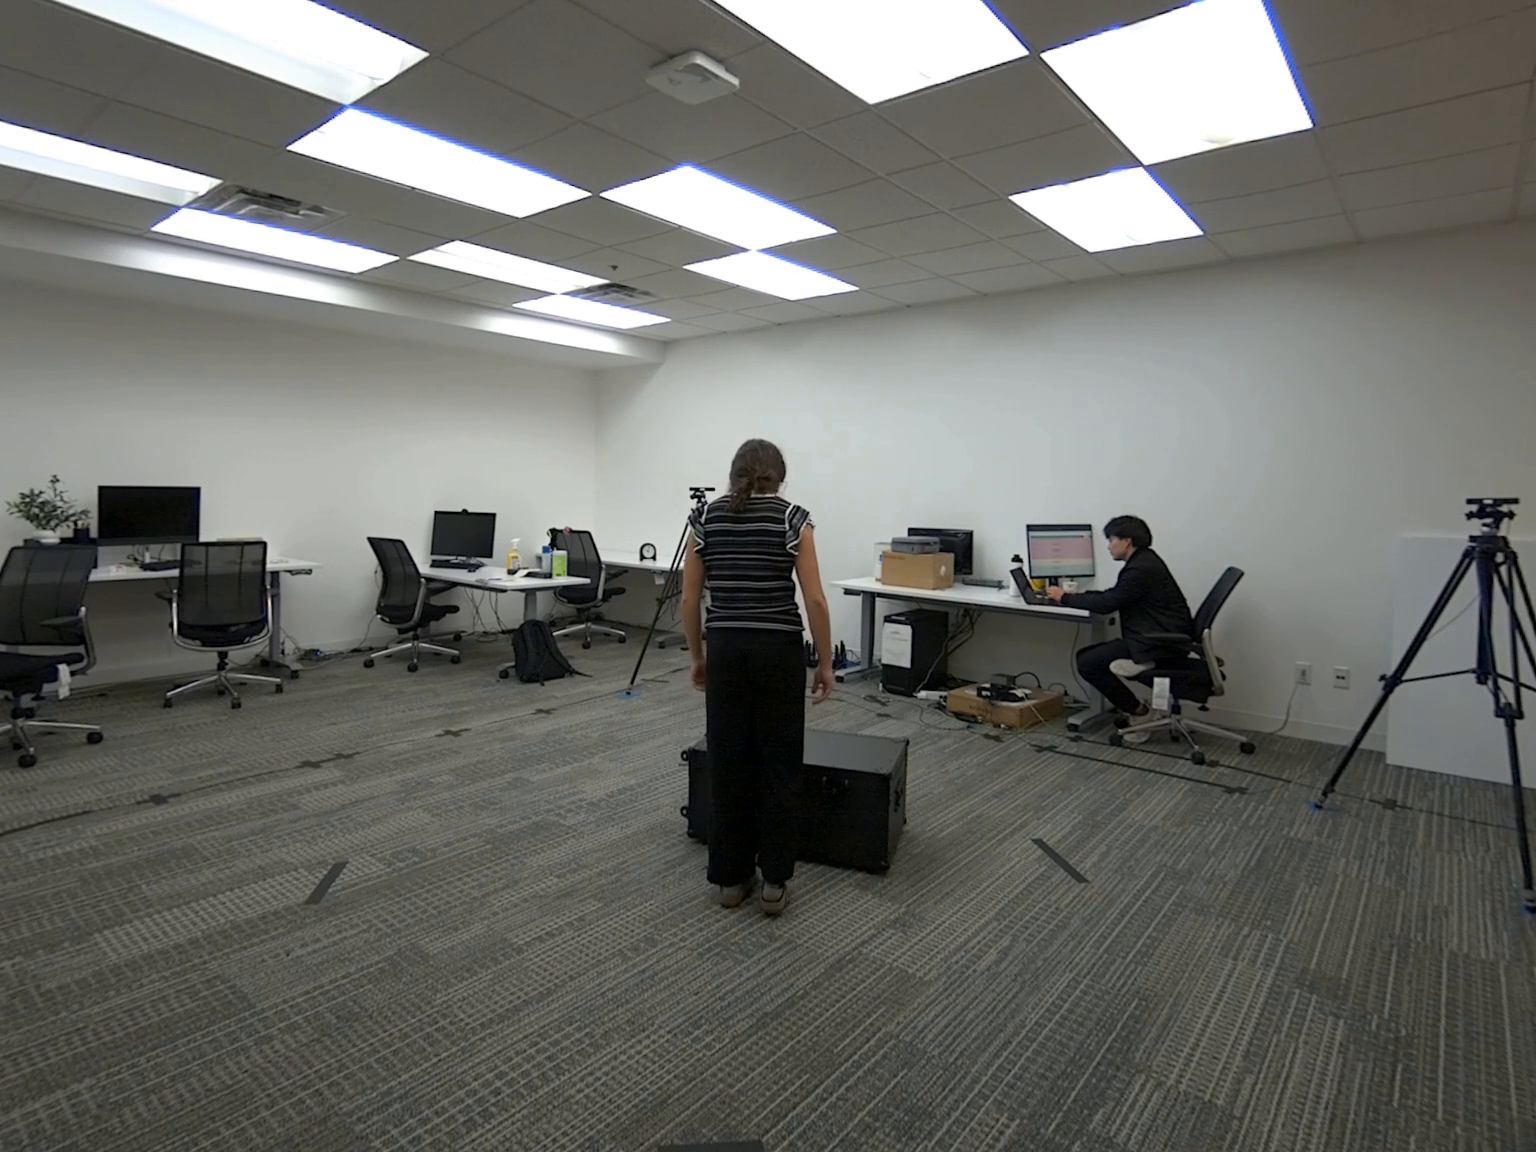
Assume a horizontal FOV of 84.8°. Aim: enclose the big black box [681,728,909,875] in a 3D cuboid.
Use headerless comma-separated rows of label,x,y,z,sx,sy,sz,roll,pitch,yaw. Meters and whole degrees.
big black box,0.088,0.849,3.422,0.879,0.394,0.513,3,6,19
